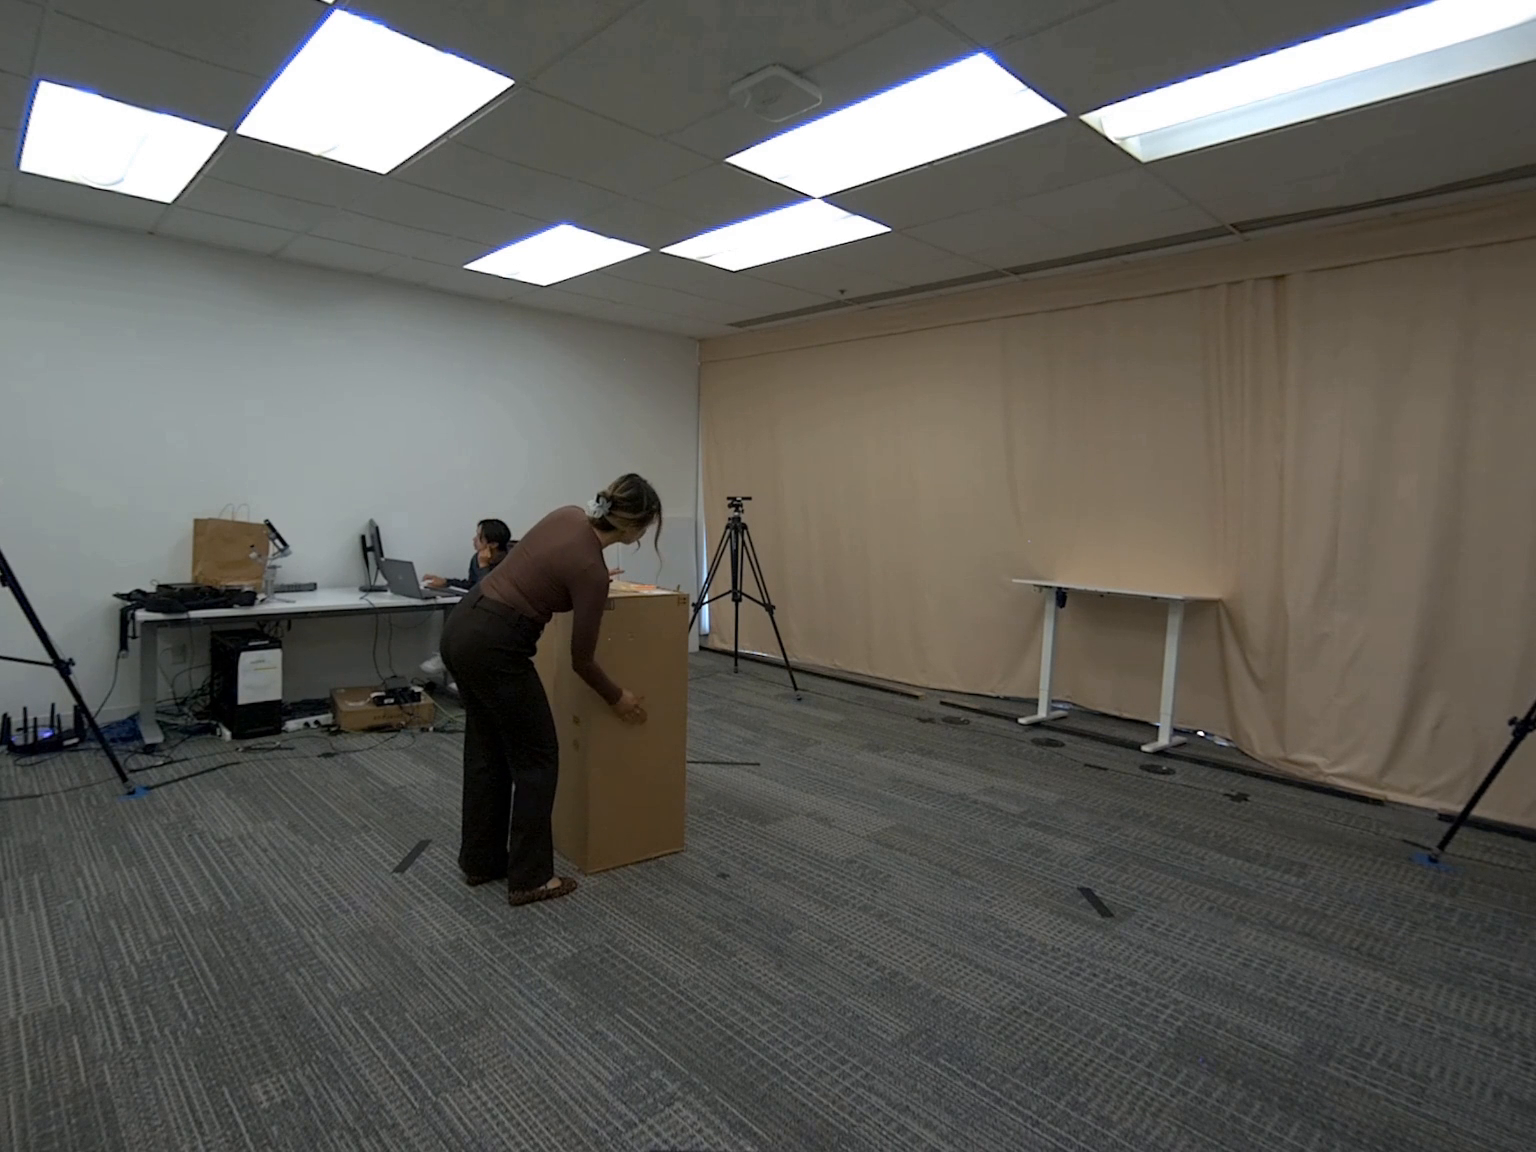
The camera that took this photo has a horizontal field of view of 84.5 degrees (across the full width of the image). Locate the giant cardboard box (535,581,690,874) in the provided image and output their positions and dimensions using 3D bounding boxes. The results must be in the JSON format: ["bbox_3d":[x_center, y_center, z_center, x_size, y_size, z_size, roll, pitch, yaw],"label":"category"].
[{"bbox_3d":[-0.660,0.556,3.406,0.437,1.025,0.598,0,4,-36],"label":"giant cardboard box"}]
